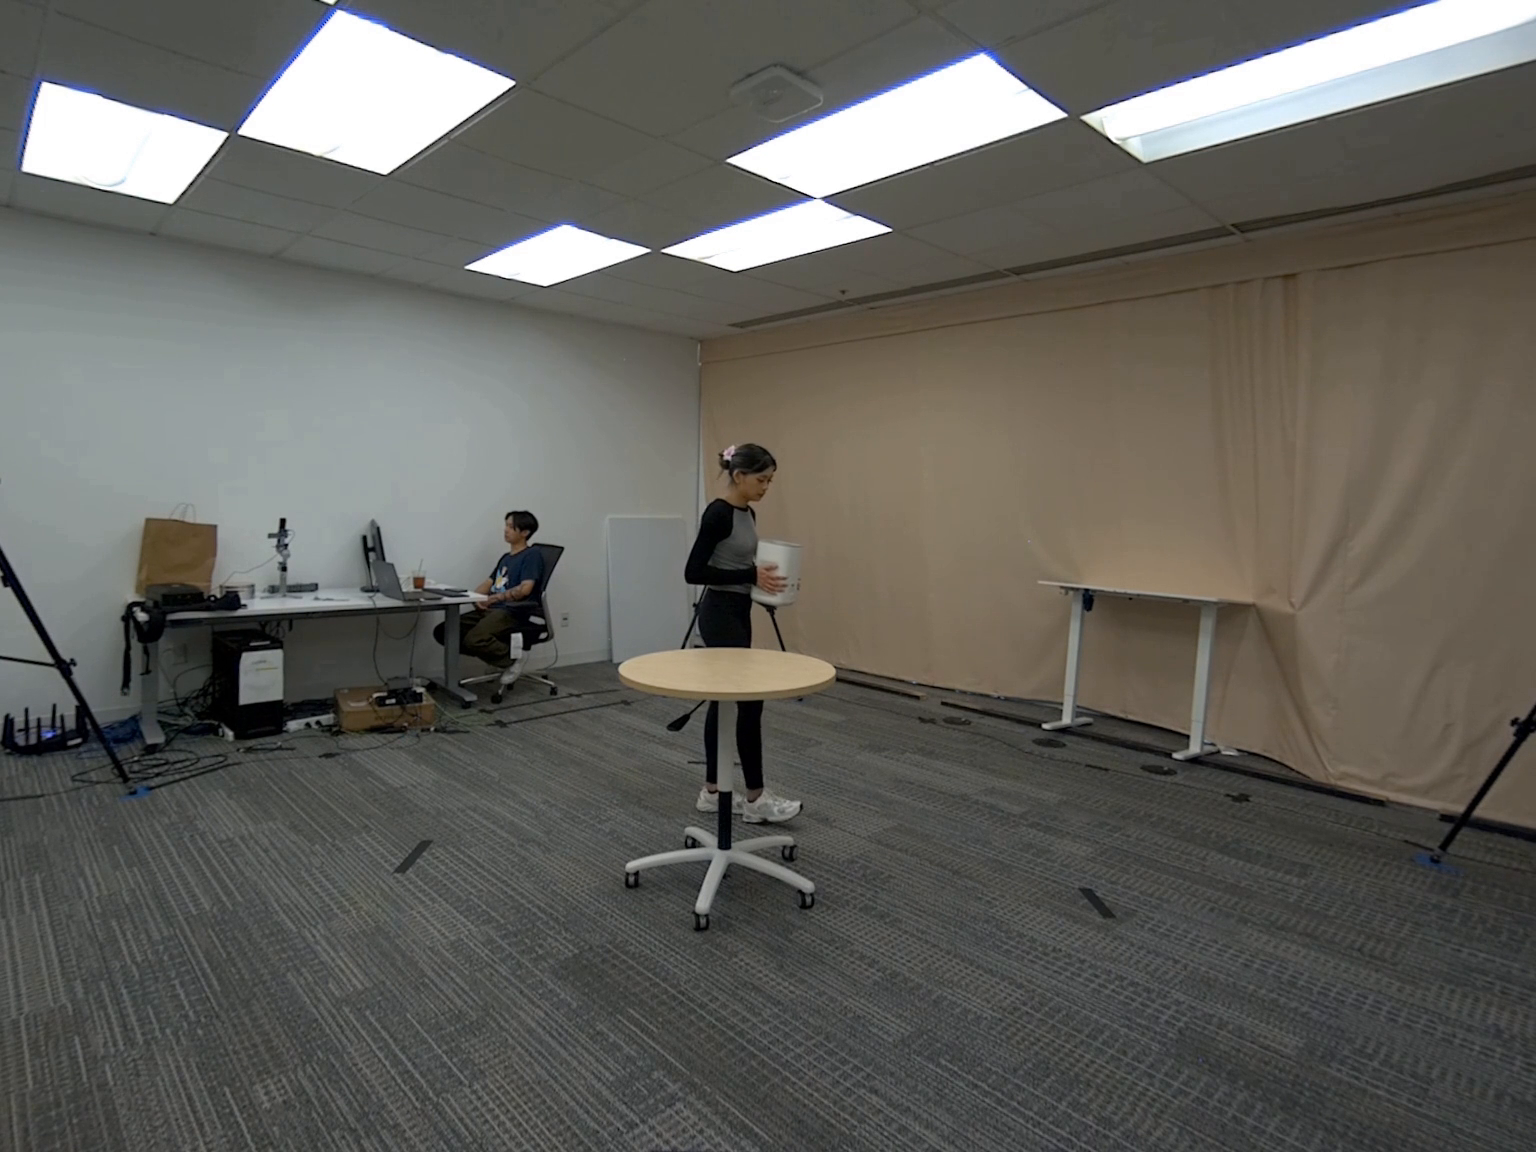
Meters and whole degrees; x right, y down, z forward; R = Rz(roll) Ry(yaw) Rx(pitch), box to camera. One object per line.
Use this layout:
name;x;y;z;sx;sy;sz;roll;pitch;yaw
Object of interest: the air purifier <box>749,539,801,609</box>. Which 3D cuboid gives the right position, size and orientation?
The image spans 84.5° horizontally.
air purifier;0.028;-0.014;3.620;0.176;0.265;0.167;10;5;30
